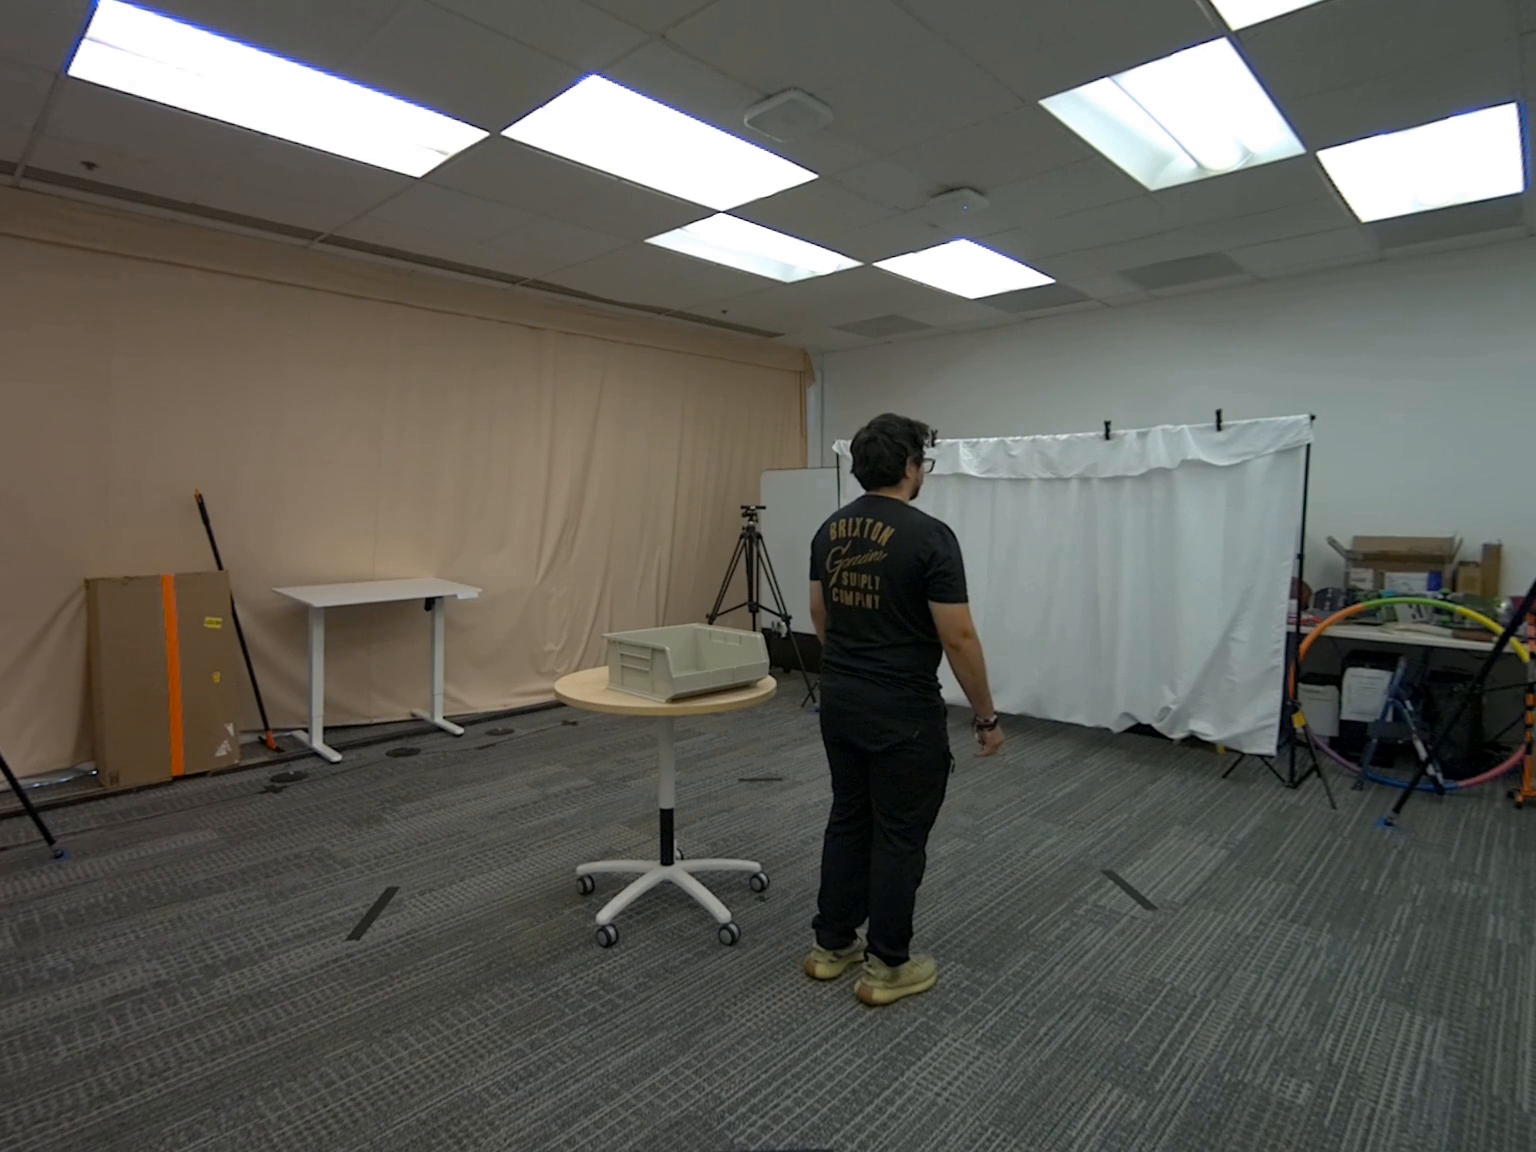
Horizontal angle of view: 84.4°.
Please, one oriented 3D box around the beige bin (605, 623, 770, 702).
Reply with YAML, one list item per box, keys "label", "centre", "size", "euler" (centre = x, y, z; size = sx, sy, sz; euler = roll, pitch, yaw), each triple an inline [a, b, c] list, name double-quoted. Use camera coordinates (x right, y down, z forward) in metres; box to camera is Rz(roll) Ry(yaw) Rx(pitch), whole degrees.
- label: "beige bin"
  centre: [-0.272, 0.291, 2.823]
  size: [0.409, 0.188, 0.390]
  euler: [-5, 5, -44]
